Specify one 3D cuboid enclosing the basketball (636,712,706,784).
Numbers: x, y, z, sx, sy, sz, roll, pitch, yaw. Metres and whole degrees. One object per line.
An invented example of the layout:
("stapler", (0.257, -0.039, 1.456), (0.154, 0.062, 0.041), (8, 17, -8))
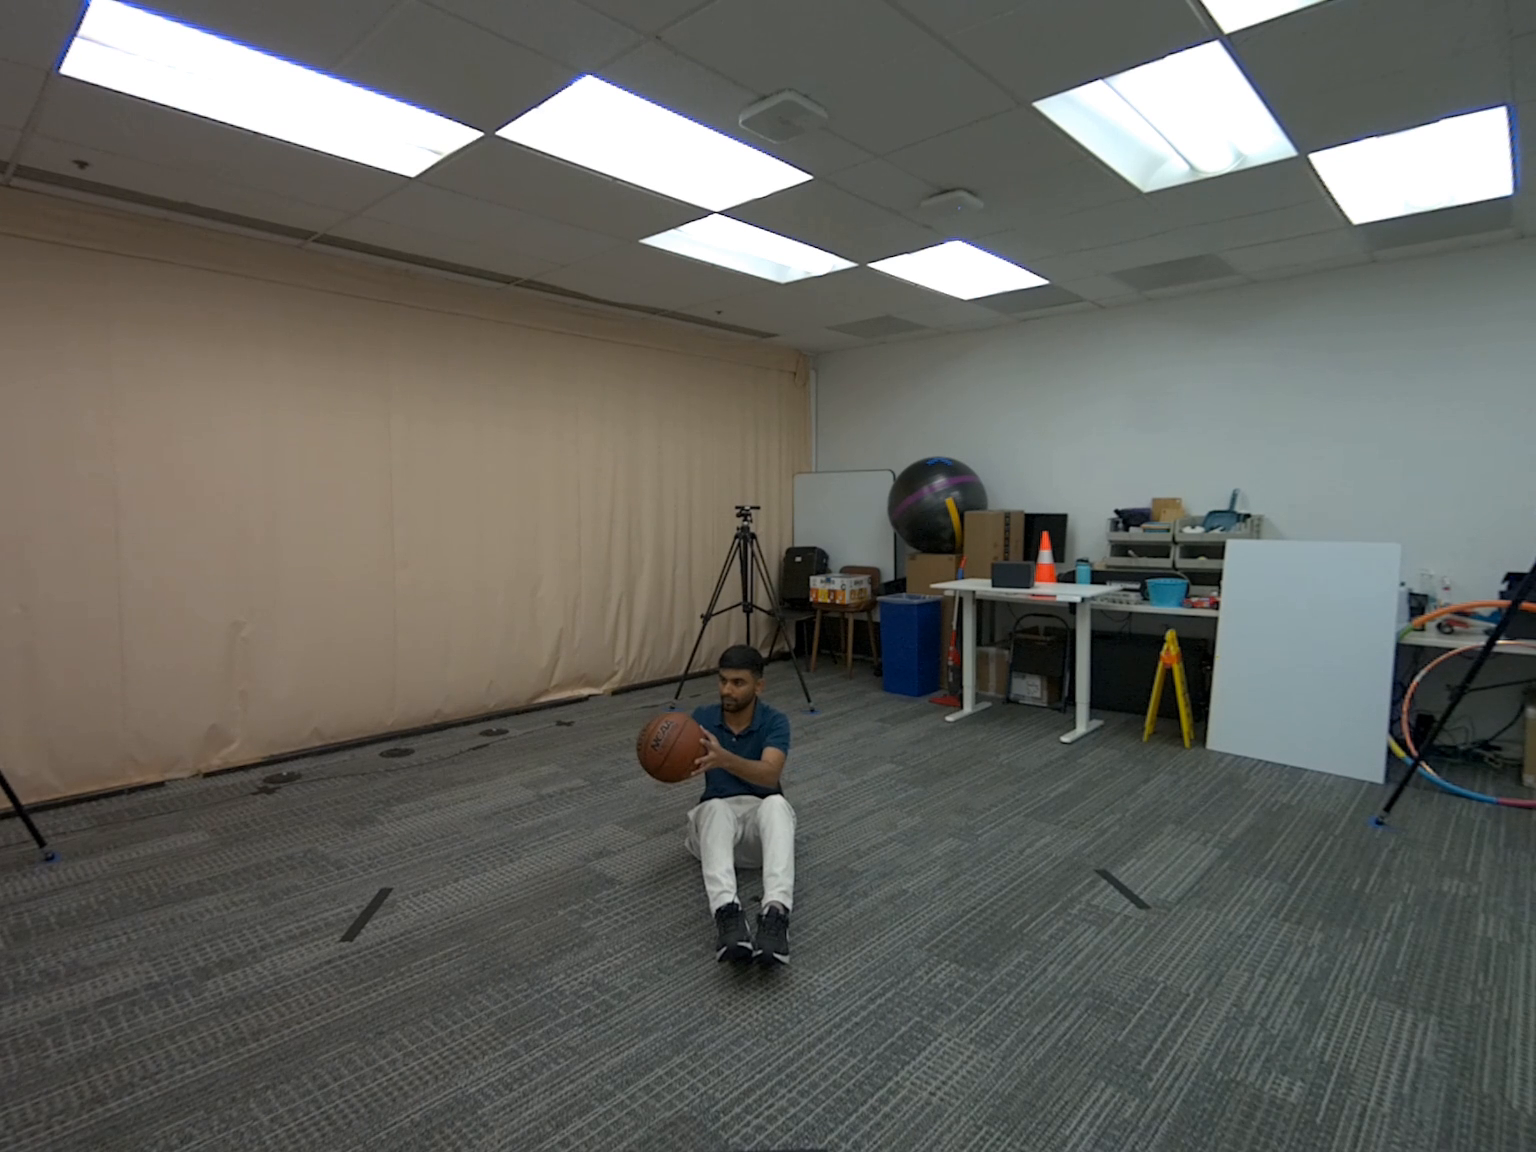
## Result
("basketball", (-0.317, 0.586, 2.885), (0.236, 0.235, 0.237), (0, 4, -2))
